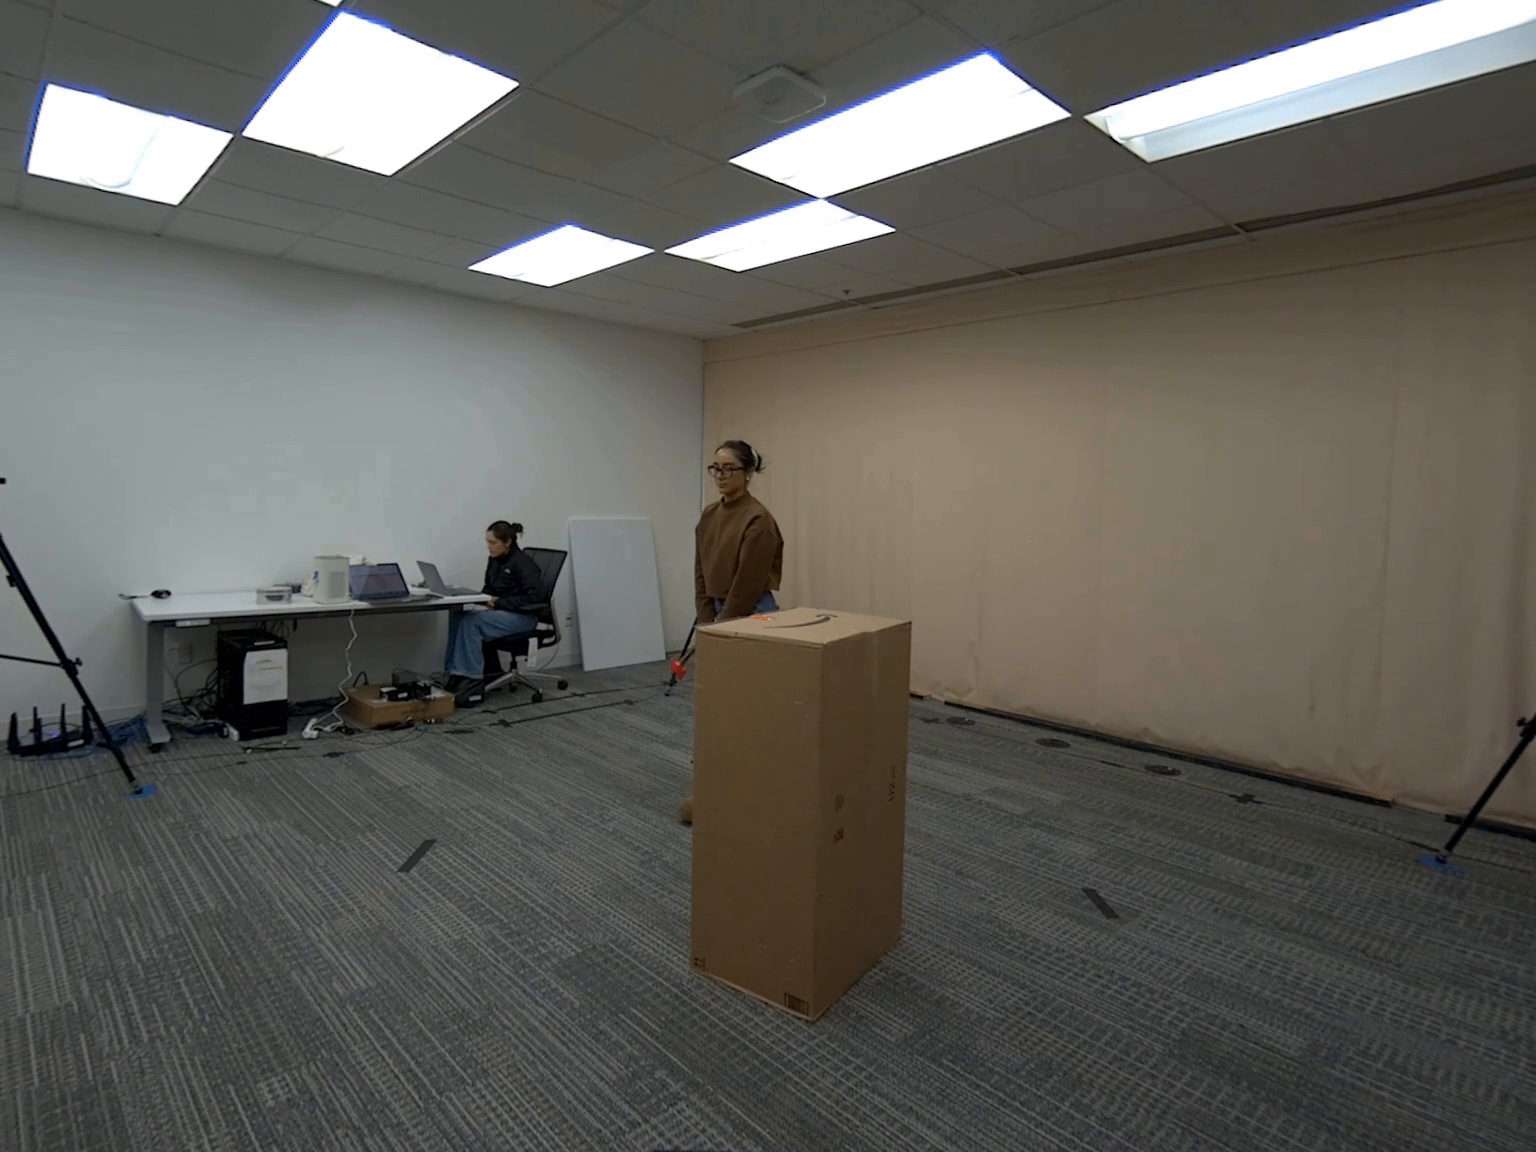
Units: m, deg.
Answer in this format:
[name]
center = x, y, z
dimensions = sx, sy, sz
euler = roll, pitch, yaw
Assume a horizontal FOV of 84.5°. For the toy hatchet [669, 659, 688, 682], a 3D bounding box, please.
[toy hatchet]
center = -0.336, 0.358, 3.642
dimensions = 0.030, 0.129, 0.267
euler = 16, 29, 37
